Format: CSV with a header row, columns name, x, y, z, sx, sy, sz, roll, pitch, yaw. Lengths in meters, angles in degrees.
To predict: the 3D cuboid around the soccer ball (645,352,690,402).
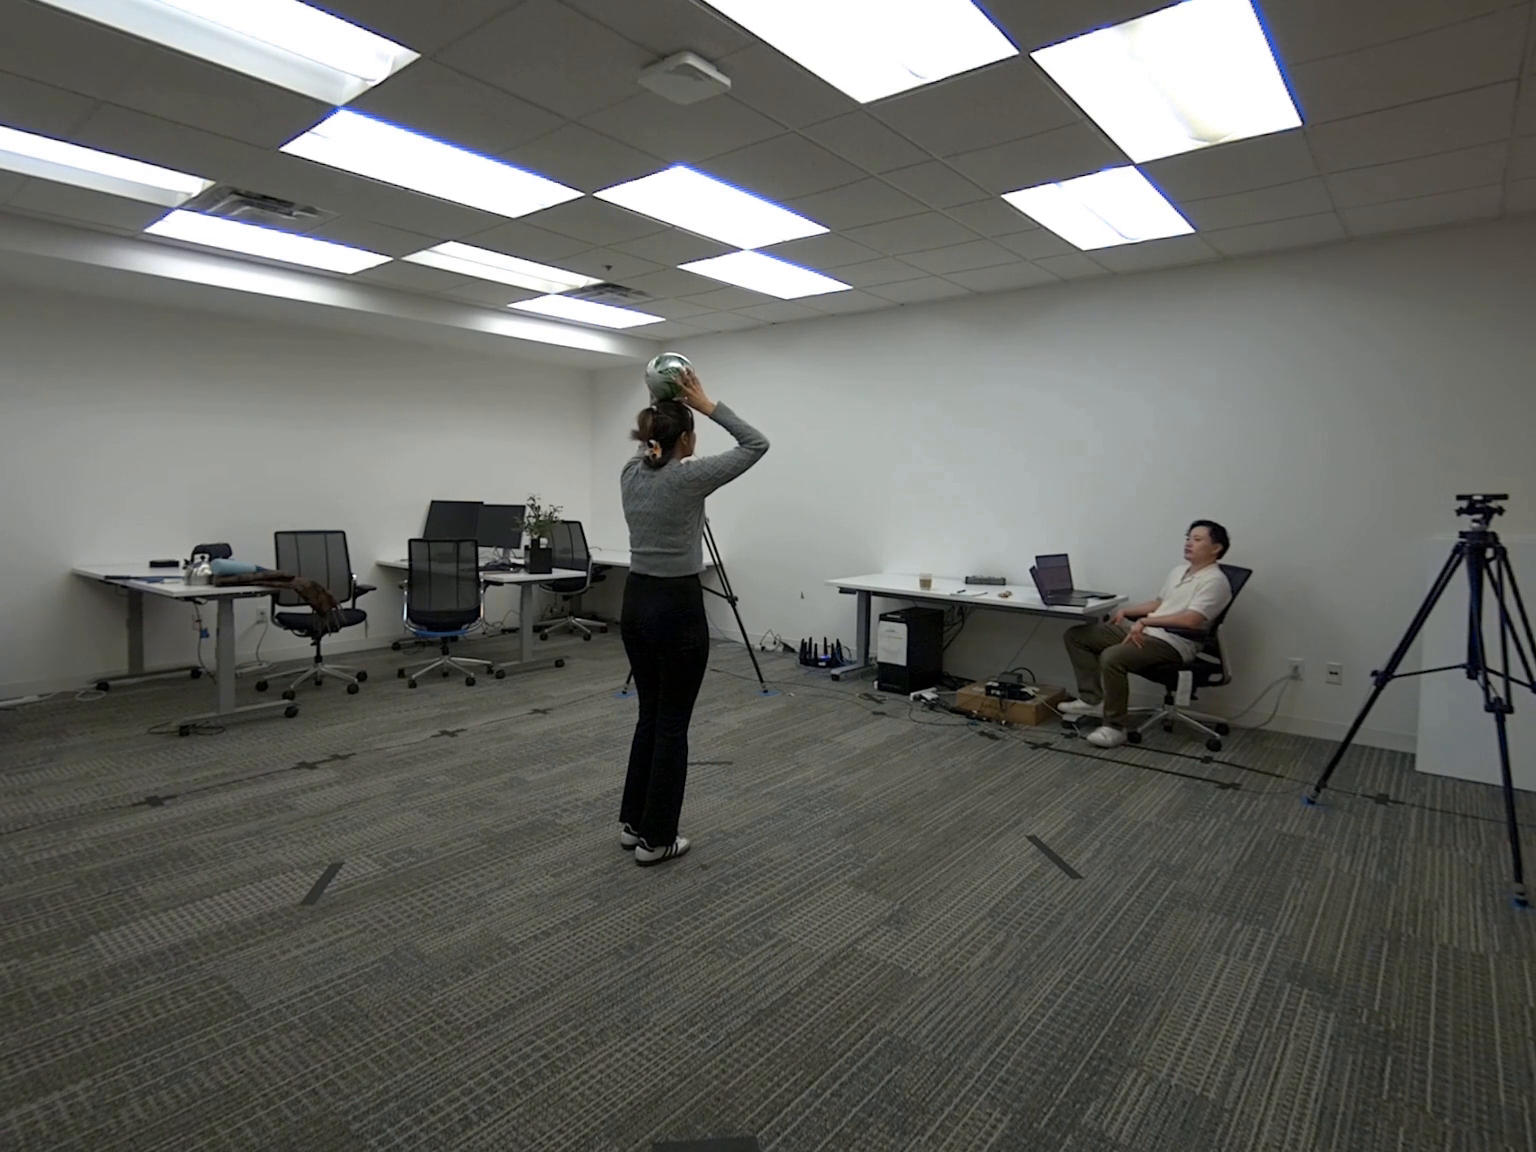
name,x,y,z,sx,sy,sz,roll,pitch,yaw
soccer ball,-0.387,-0.752,3.221,0.187,0.187,0.188,1,4,-2
